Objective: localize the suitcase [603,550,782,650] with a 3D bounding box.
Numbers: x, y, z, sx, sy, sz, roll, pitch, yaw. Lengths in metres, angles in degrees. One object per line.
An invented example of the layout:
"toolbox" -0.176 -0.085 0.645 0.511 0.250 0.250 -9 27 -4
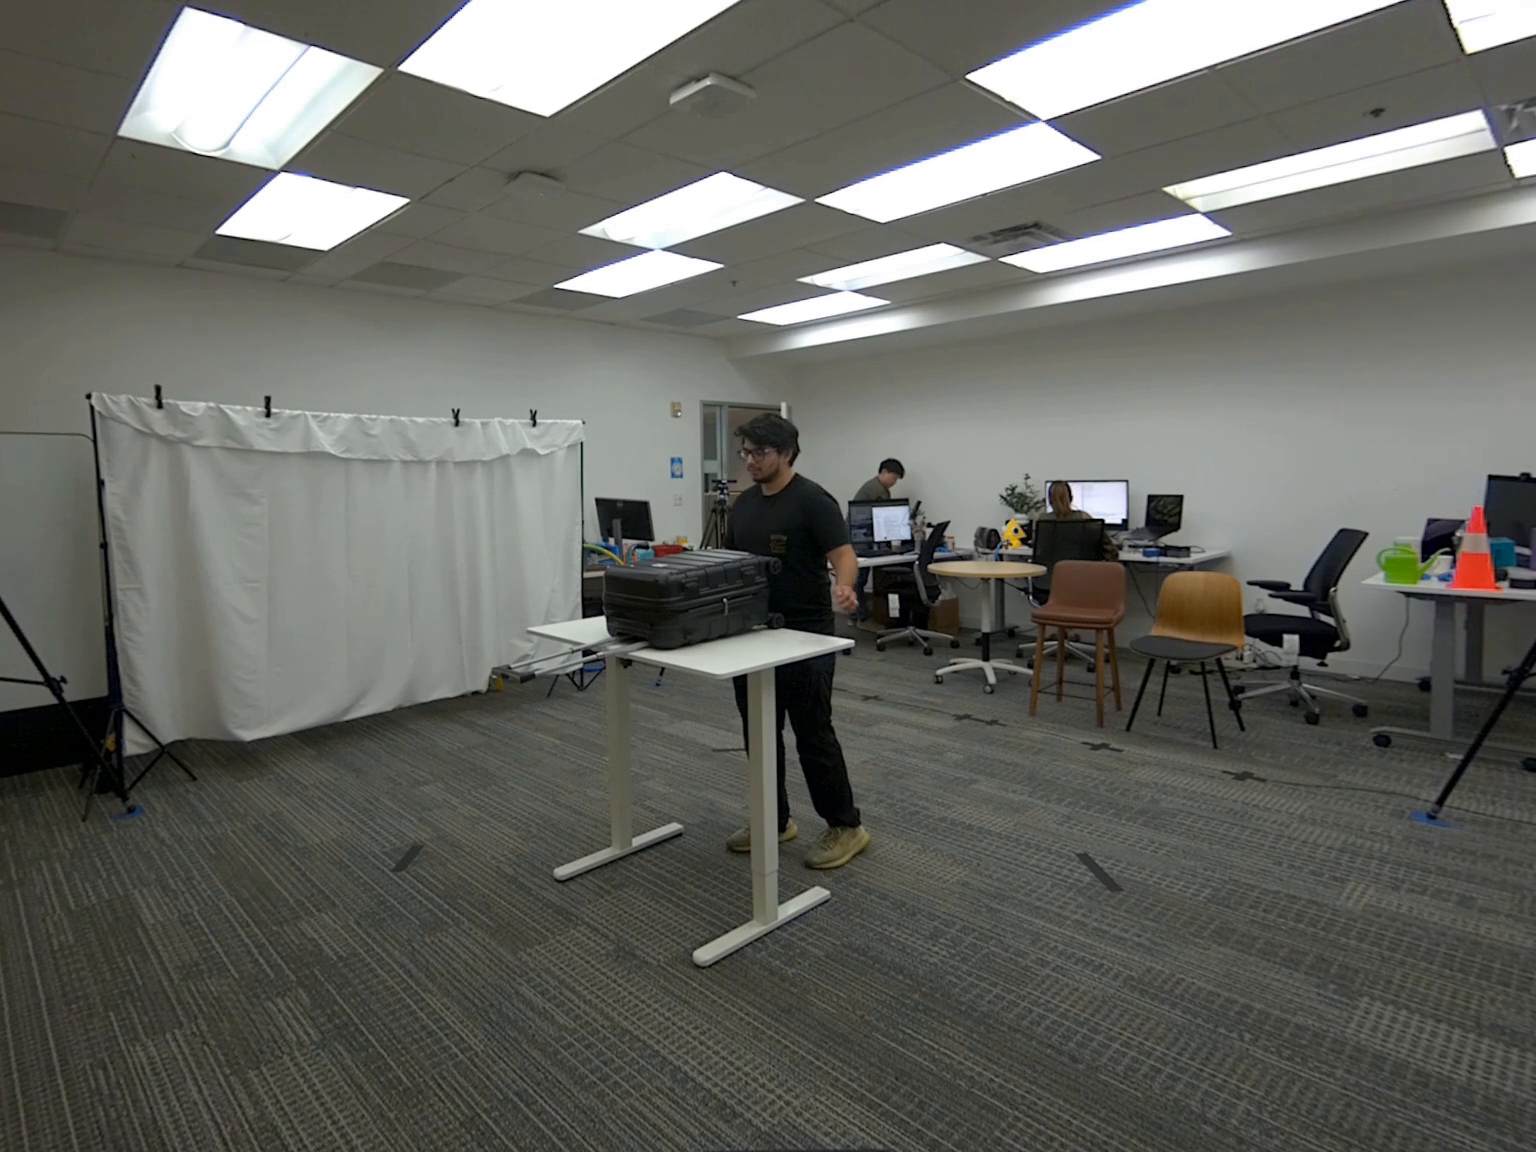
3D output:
"suitcase" -0.402 0.096 2.724 0.954 0.255 0.396 -10 11 -44
